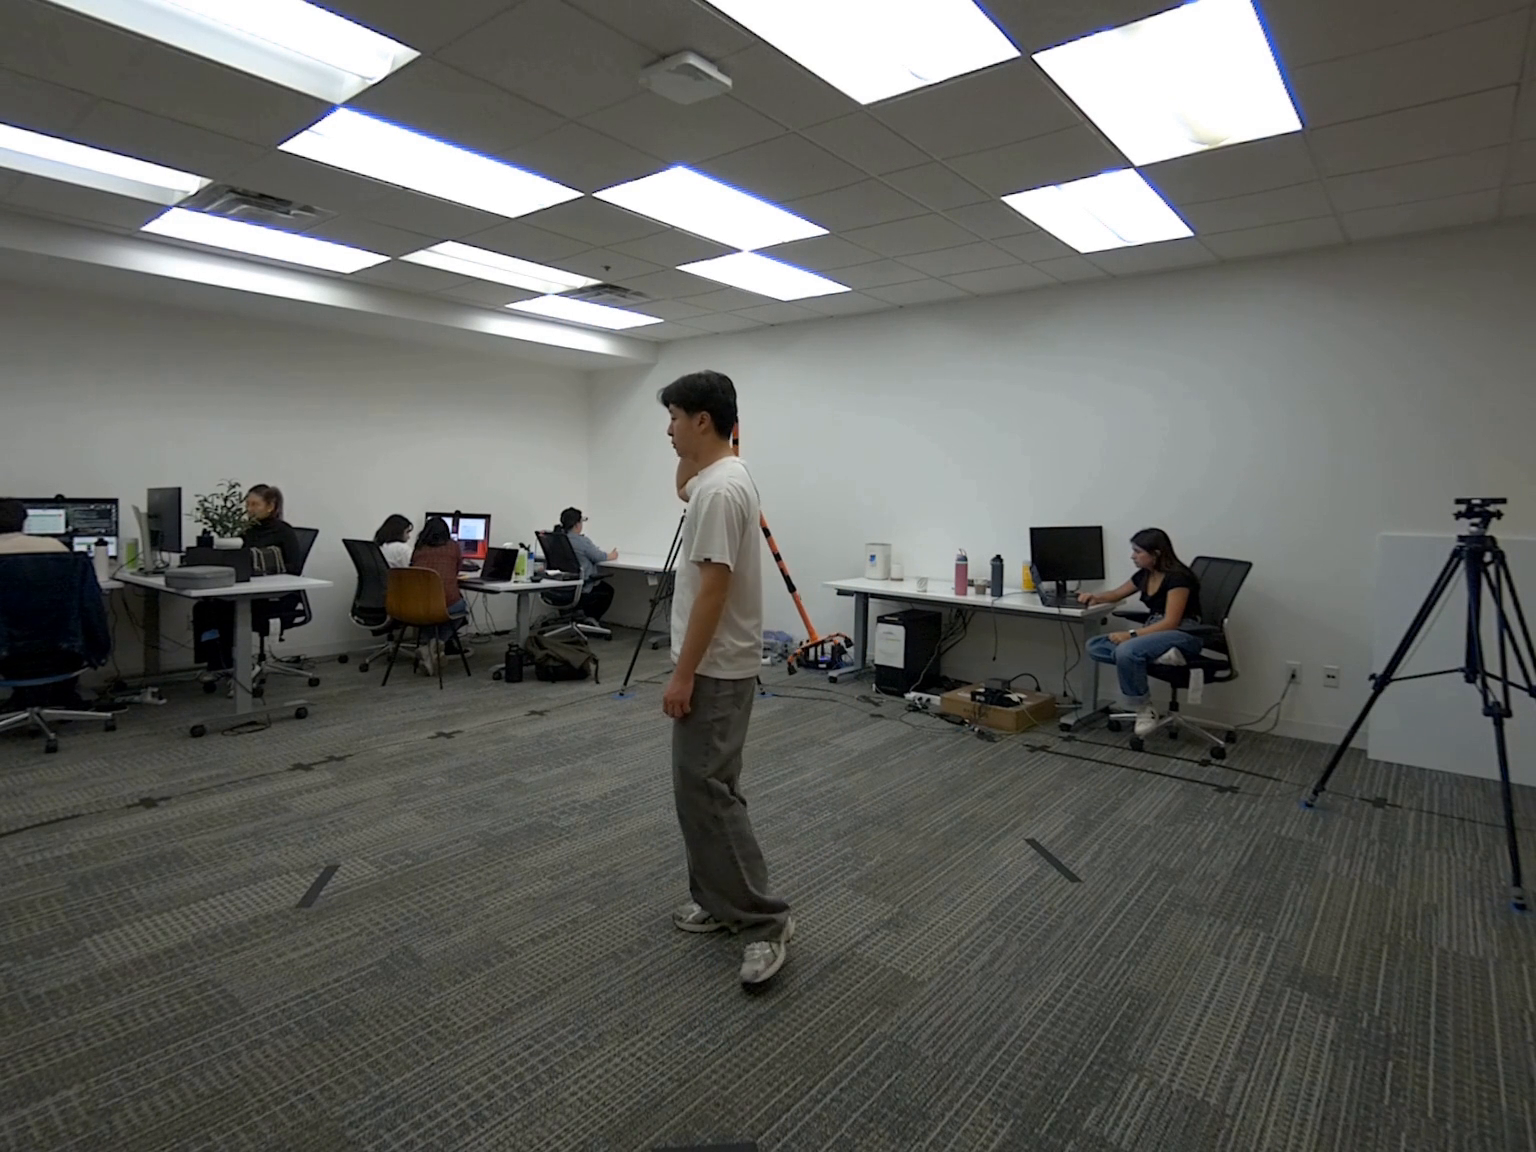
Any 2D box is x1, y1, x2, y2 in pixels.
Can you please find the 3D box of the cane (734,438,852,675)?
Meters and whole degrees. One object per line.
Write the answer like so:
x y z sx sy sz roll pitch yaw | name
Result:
-0.006 -0.162 2.780 0.208 0.910 0.150 -23 -2 12 | cane
